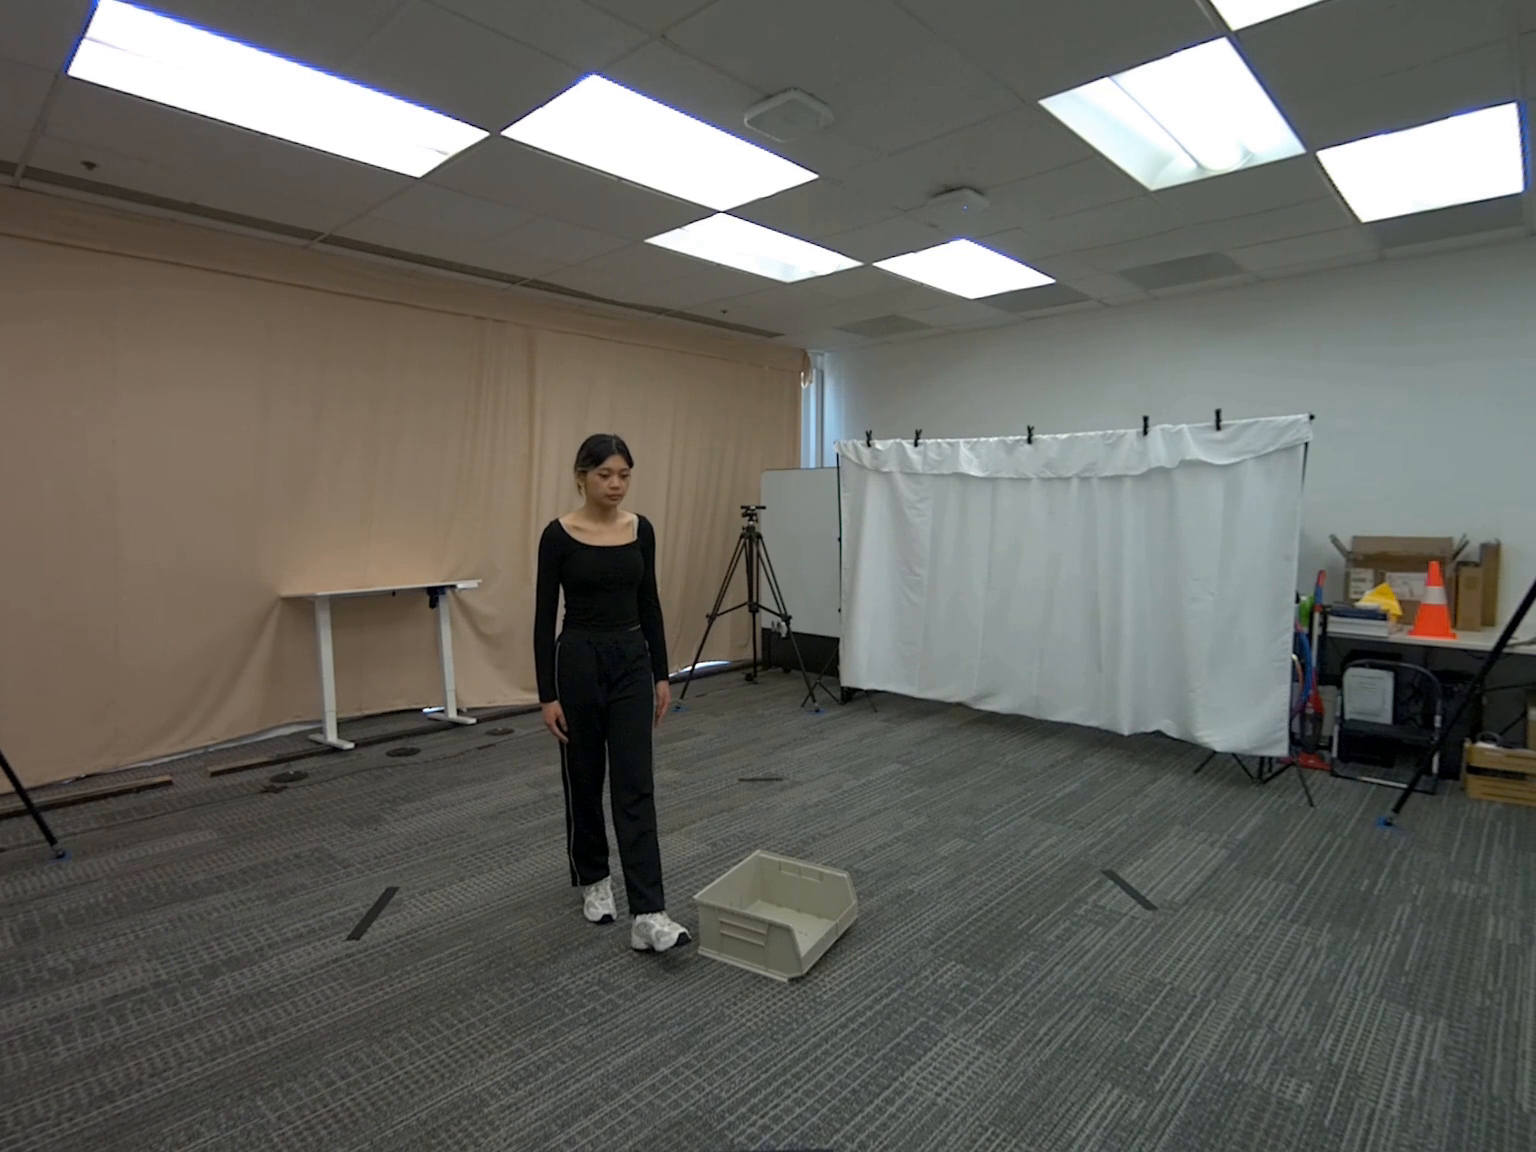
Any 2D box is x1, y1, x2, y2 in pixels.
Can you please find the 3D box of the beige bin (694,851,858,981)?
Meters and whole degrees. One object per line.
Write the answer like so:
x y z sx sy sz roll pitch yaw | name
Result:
0.034 1.082 2.693 0.388 0.188 0.411 1 5 30 | beige bin
